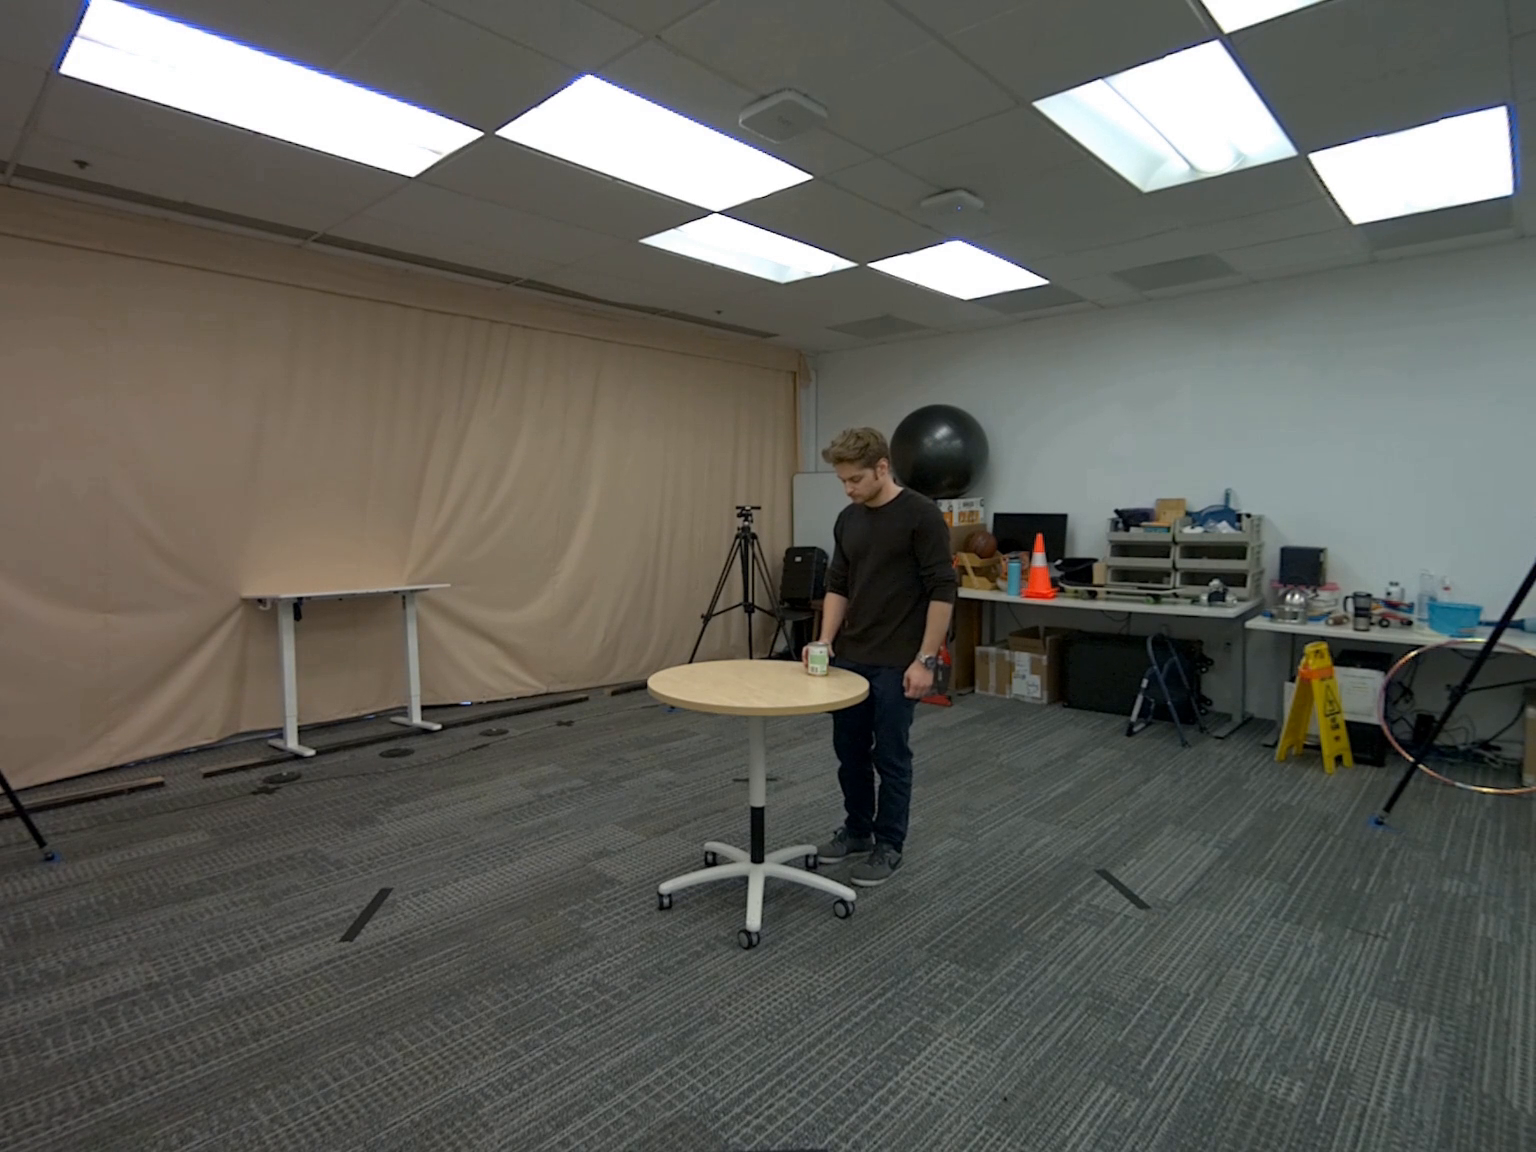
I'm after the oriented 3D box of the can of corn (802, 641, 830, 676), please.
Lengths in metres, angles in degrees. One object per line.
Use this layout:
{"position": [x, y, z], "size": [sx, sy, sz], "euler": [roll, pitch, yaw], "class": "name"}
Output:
{"position": [0.178, 0.299, 3.037], "size": [0.074, 0.111, 0.074], "euler": [0, 3, -2], "class": "can of corn"}
